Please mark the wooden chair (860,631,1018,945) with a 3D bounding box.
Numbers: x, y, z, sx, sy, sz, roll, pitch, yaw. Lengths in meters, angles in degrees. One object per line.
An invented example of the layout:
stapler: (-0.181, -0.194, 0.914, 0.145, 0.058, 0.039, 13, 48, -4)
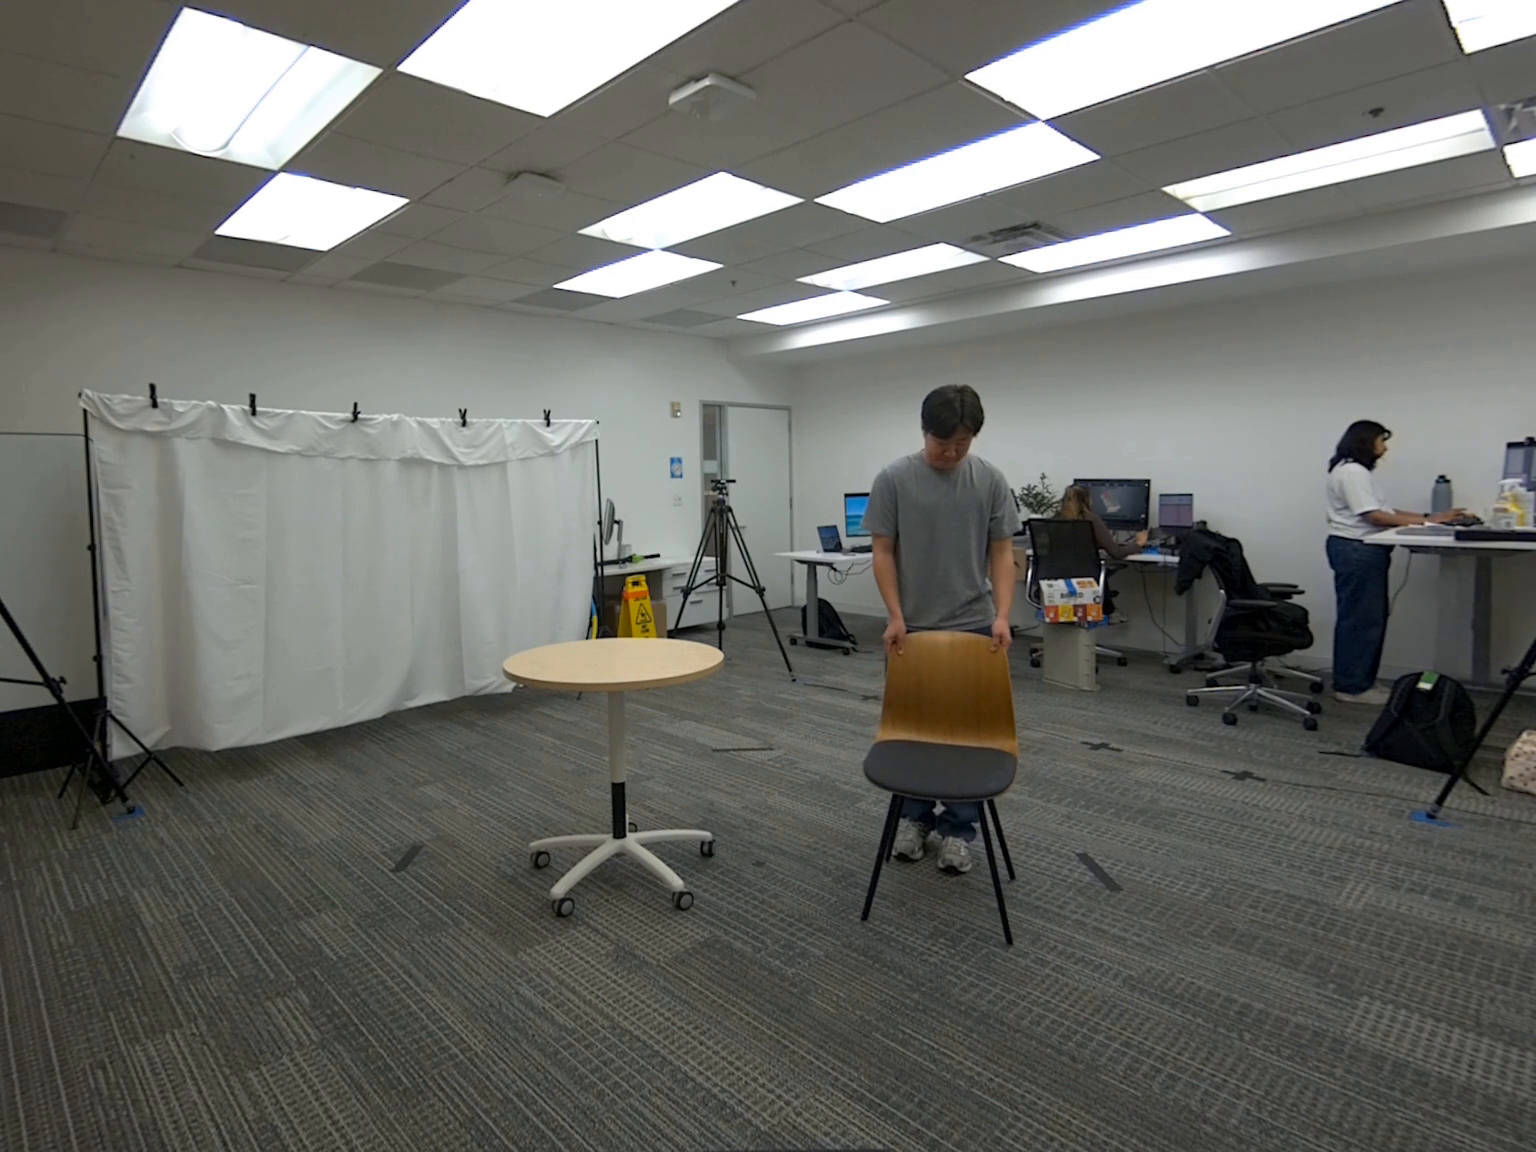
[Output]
wooden chair: (0.556, 0.641, 2.778, 0.487, 0.878, 0.513, 0, 0, 19)
